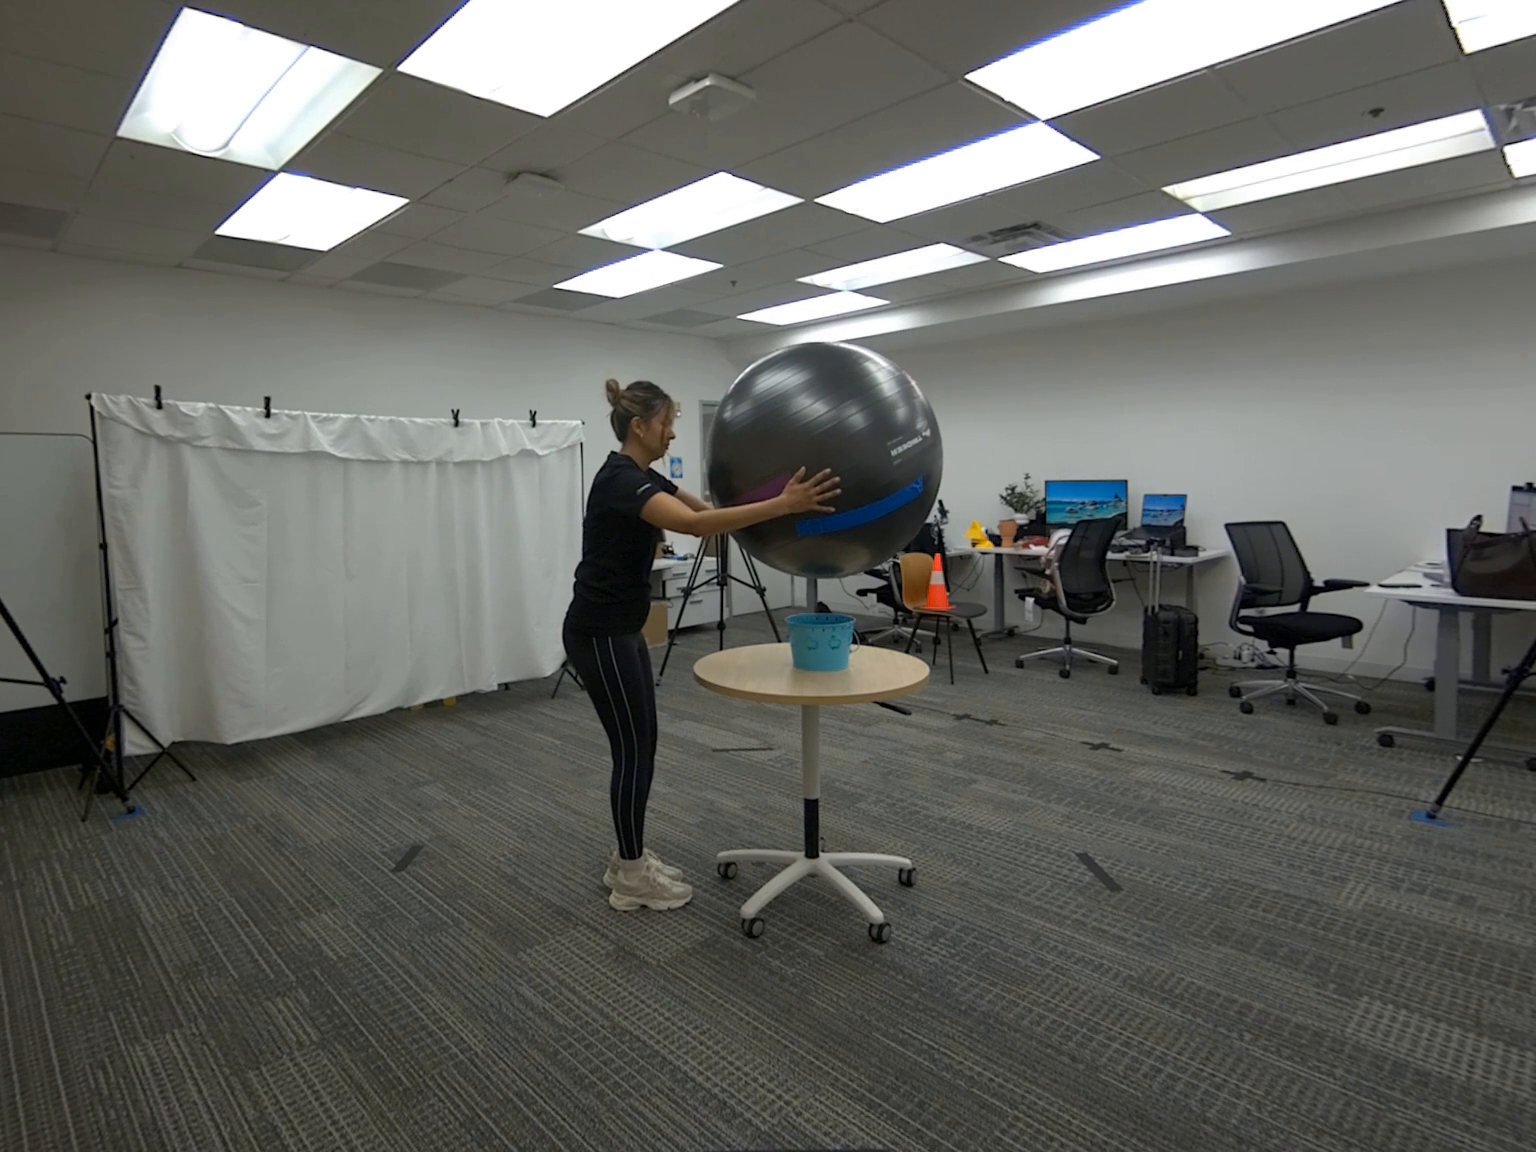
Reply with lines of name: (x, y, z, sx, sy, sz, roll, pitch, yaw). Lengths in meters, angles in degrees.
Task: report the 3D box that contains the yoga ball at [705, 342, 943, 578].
yoga ball: (0.190, -0.367, 2.747, 0.757, 0.755, 0.762, -1, 5, -2)
